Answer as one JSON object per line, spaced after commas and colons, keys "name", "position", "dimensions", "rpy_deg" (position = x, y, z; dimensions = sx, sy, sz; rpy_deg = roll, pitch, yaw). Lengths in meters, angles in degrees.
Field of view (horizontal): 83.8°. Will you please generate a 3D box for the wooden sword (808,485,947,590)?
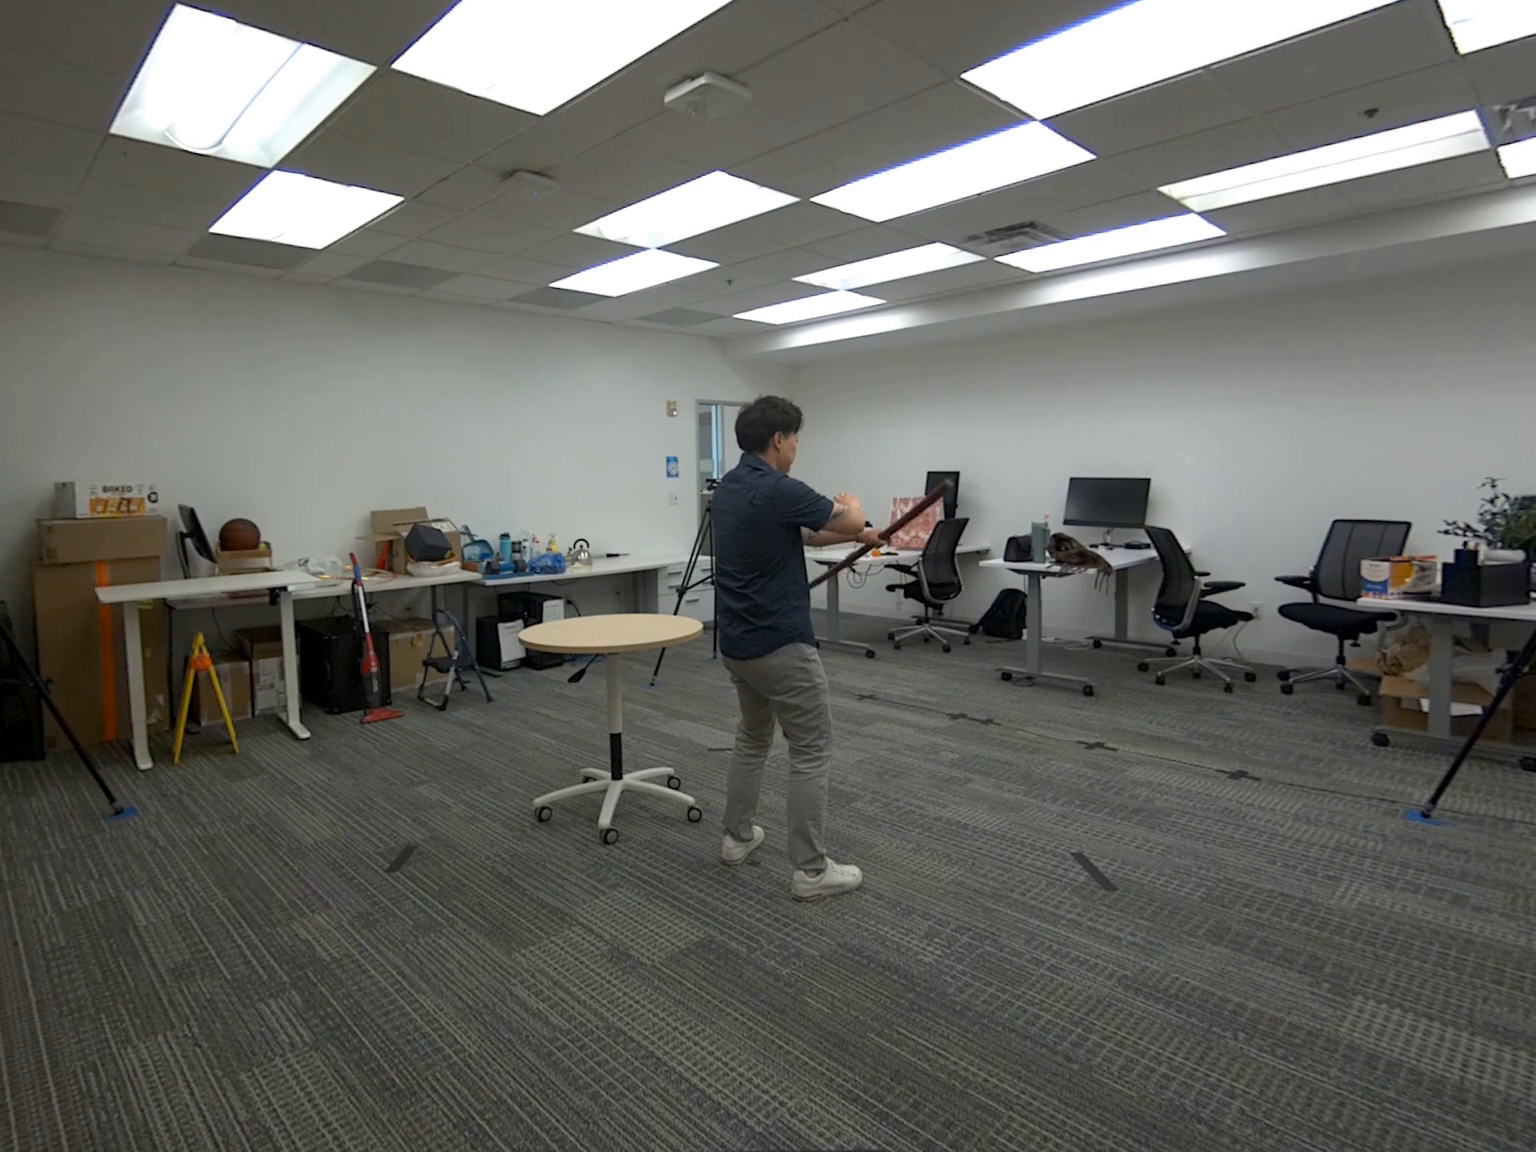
{"name": "wooden sword", "position": [0.376, -0.104, 3.176], "dimensions": [0.050, 0.024, 1.028], "rpy_deg": [10, -26, -25]}
